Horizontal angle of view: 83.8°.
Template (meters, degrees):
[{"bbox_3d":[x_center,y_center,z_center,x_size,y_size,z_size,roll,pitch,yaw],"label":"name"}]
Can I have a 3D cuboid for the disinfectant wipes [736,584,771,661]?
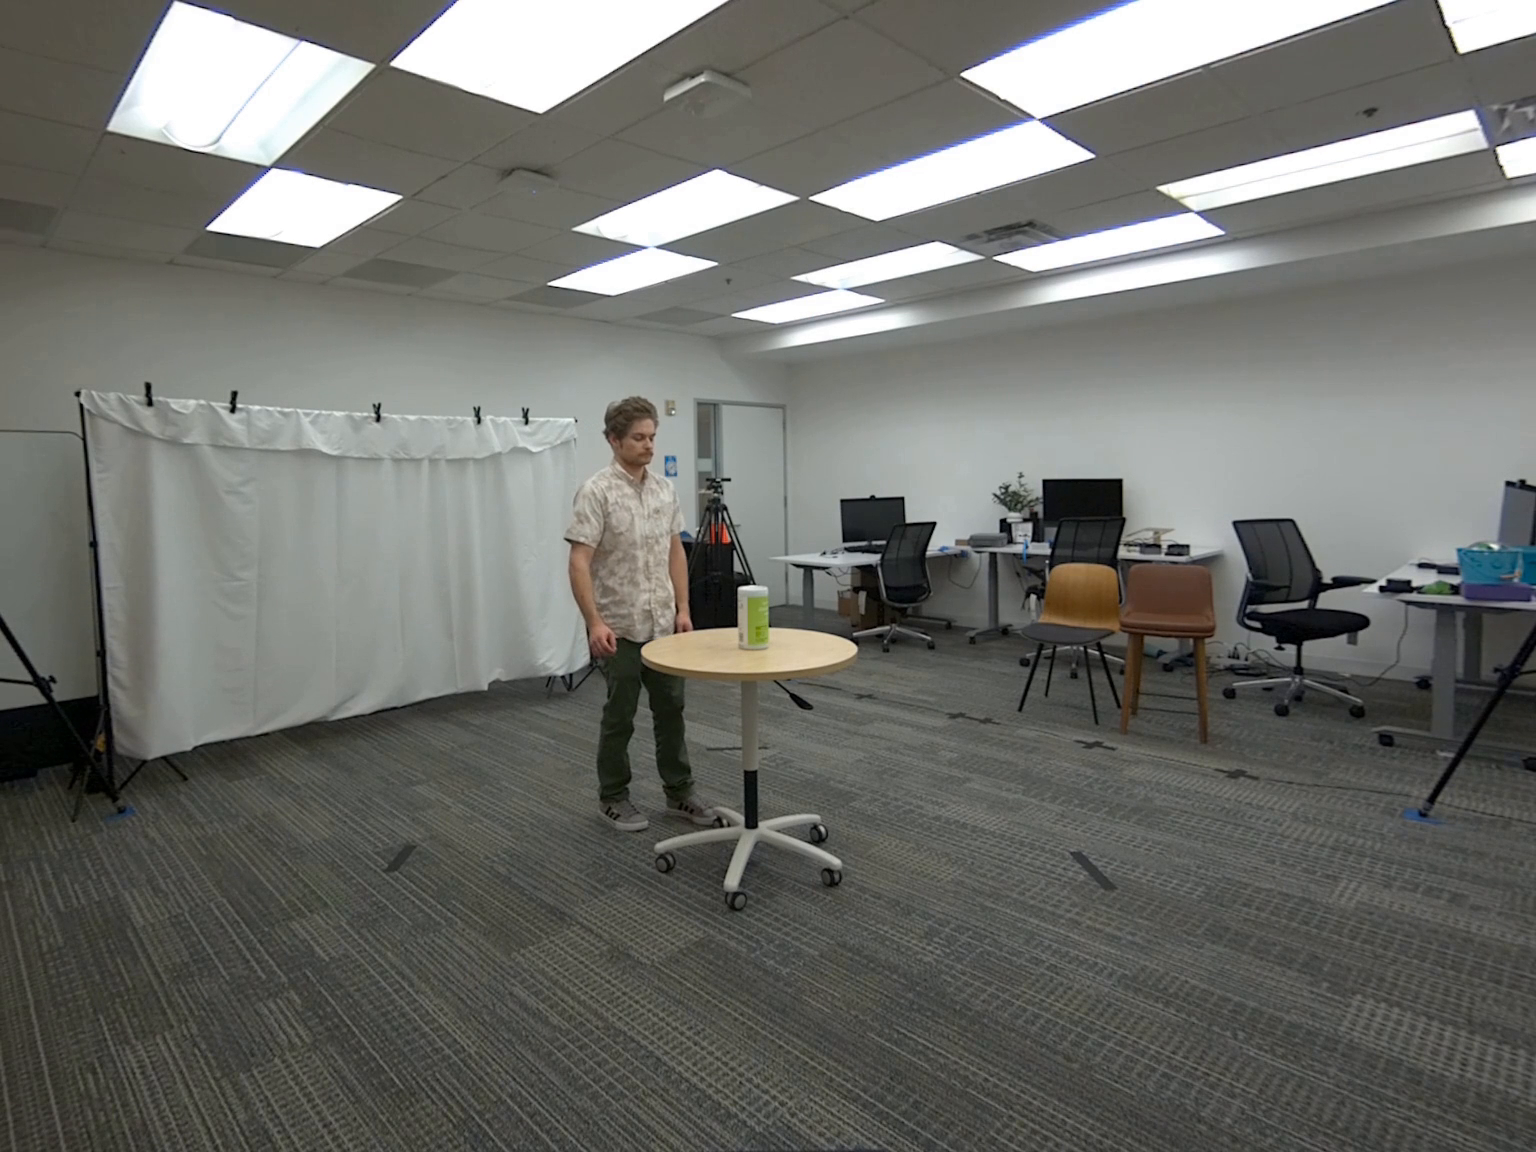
[{"bbox_3d":[-0.051,0.149,3.031,0.118,0.217,0.118,0,4,-2],"label":"disinfectant wipes"}]
